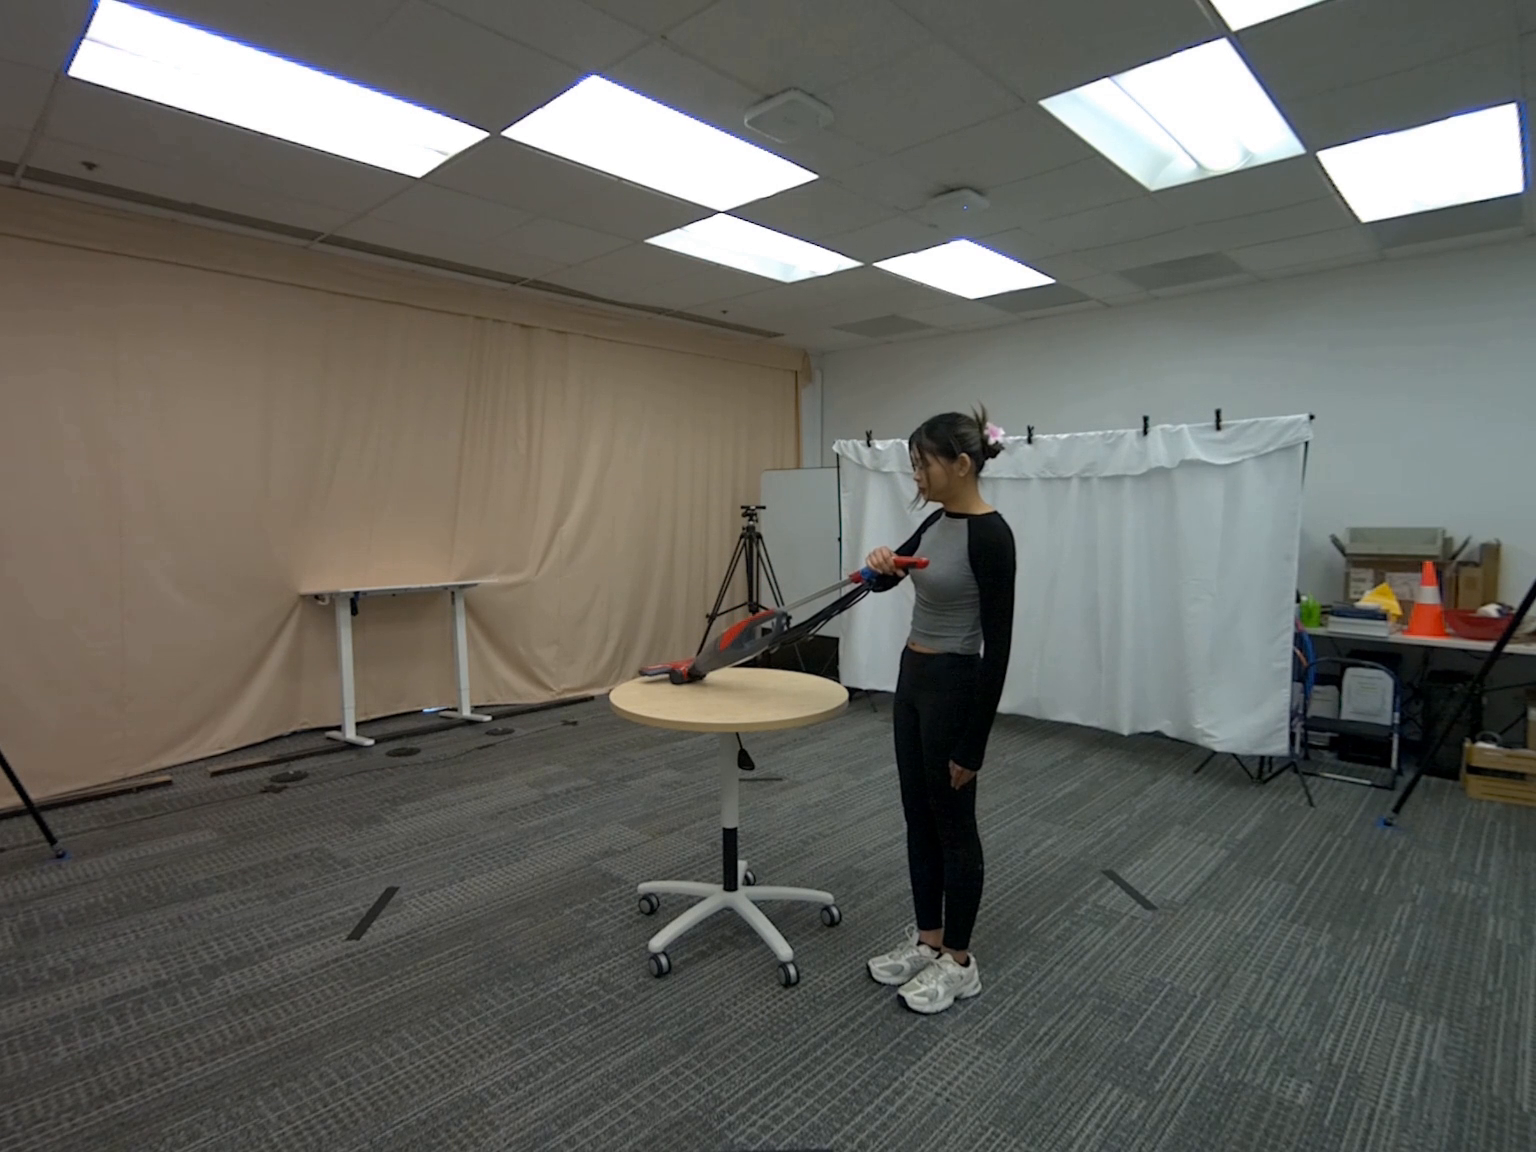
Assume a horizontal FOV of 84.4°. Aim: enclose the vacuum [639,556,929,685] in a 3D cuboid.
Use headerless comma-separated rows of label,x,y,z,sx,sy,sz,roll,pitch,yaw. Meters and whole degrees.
vacuum,0.040,0.157,2.552,0.245,0.145,1.070,-5,-16,-47
